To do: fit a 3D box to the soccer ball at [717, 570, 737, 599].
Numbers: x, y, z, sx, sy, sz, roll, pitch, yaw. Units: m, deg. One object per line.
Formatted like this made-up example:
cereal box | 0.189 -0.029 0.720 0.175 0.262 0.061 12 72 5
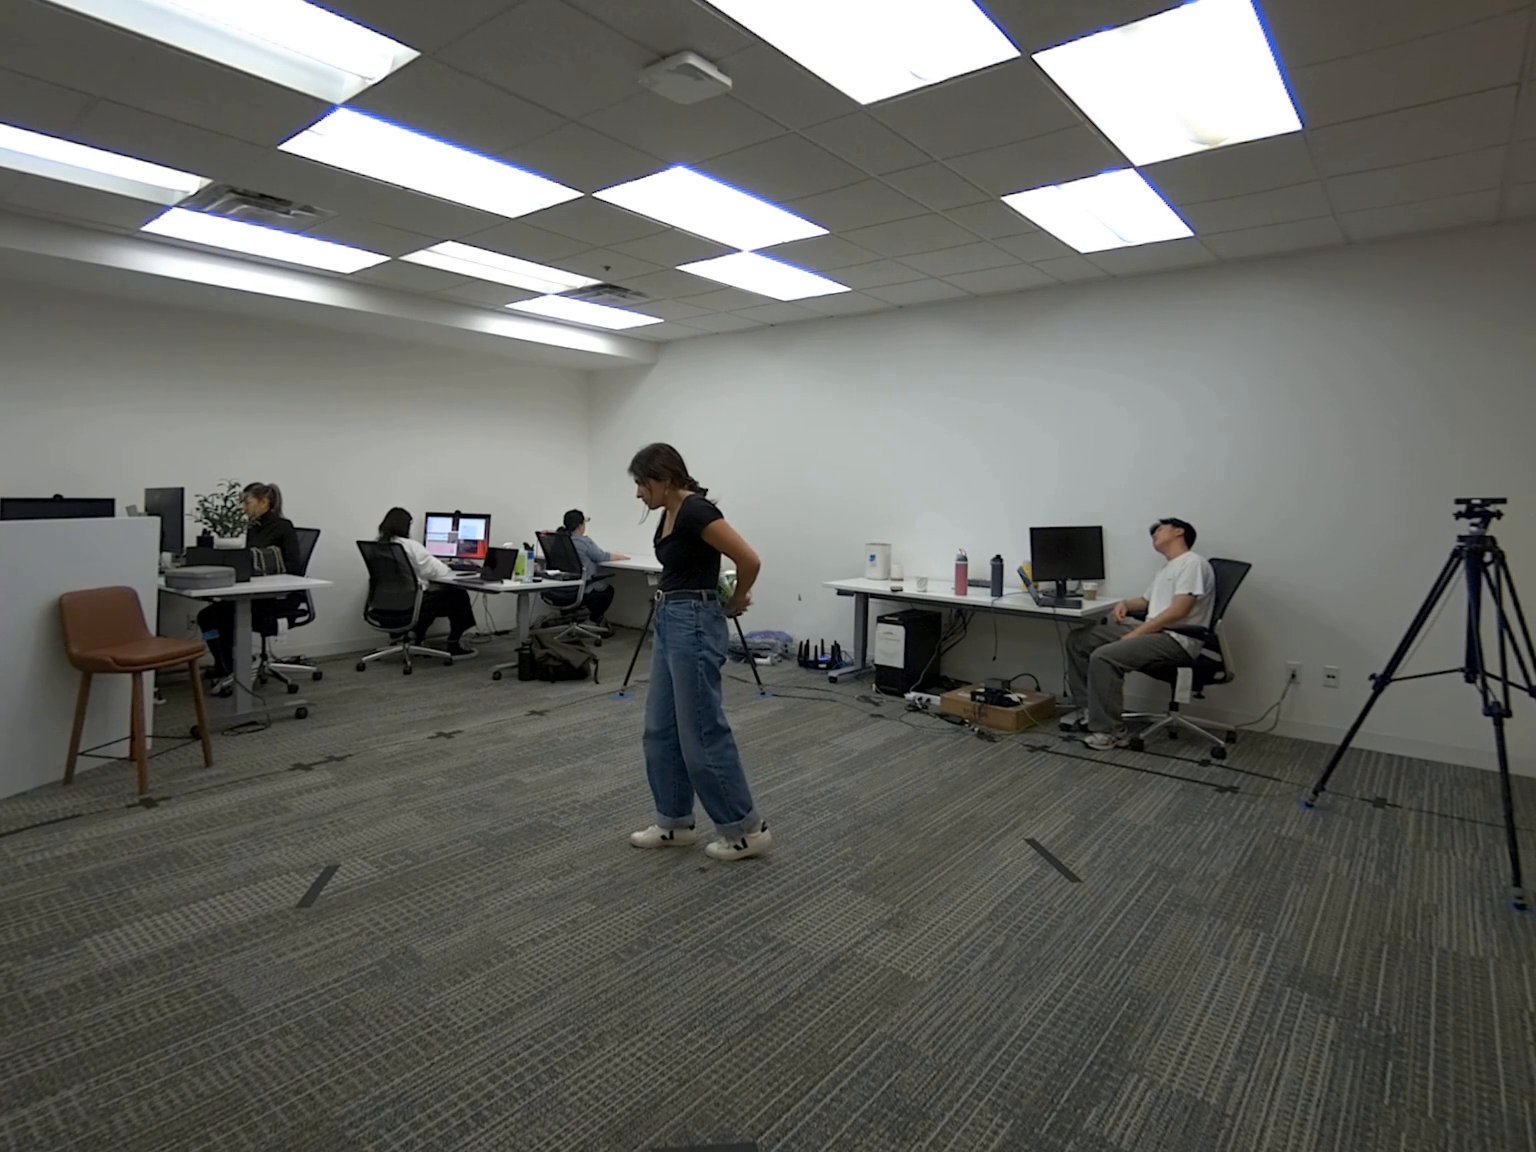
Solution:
soccer ball | -0.150 0.055 3.438 0.187 0.187 0.188 1 4 -2
